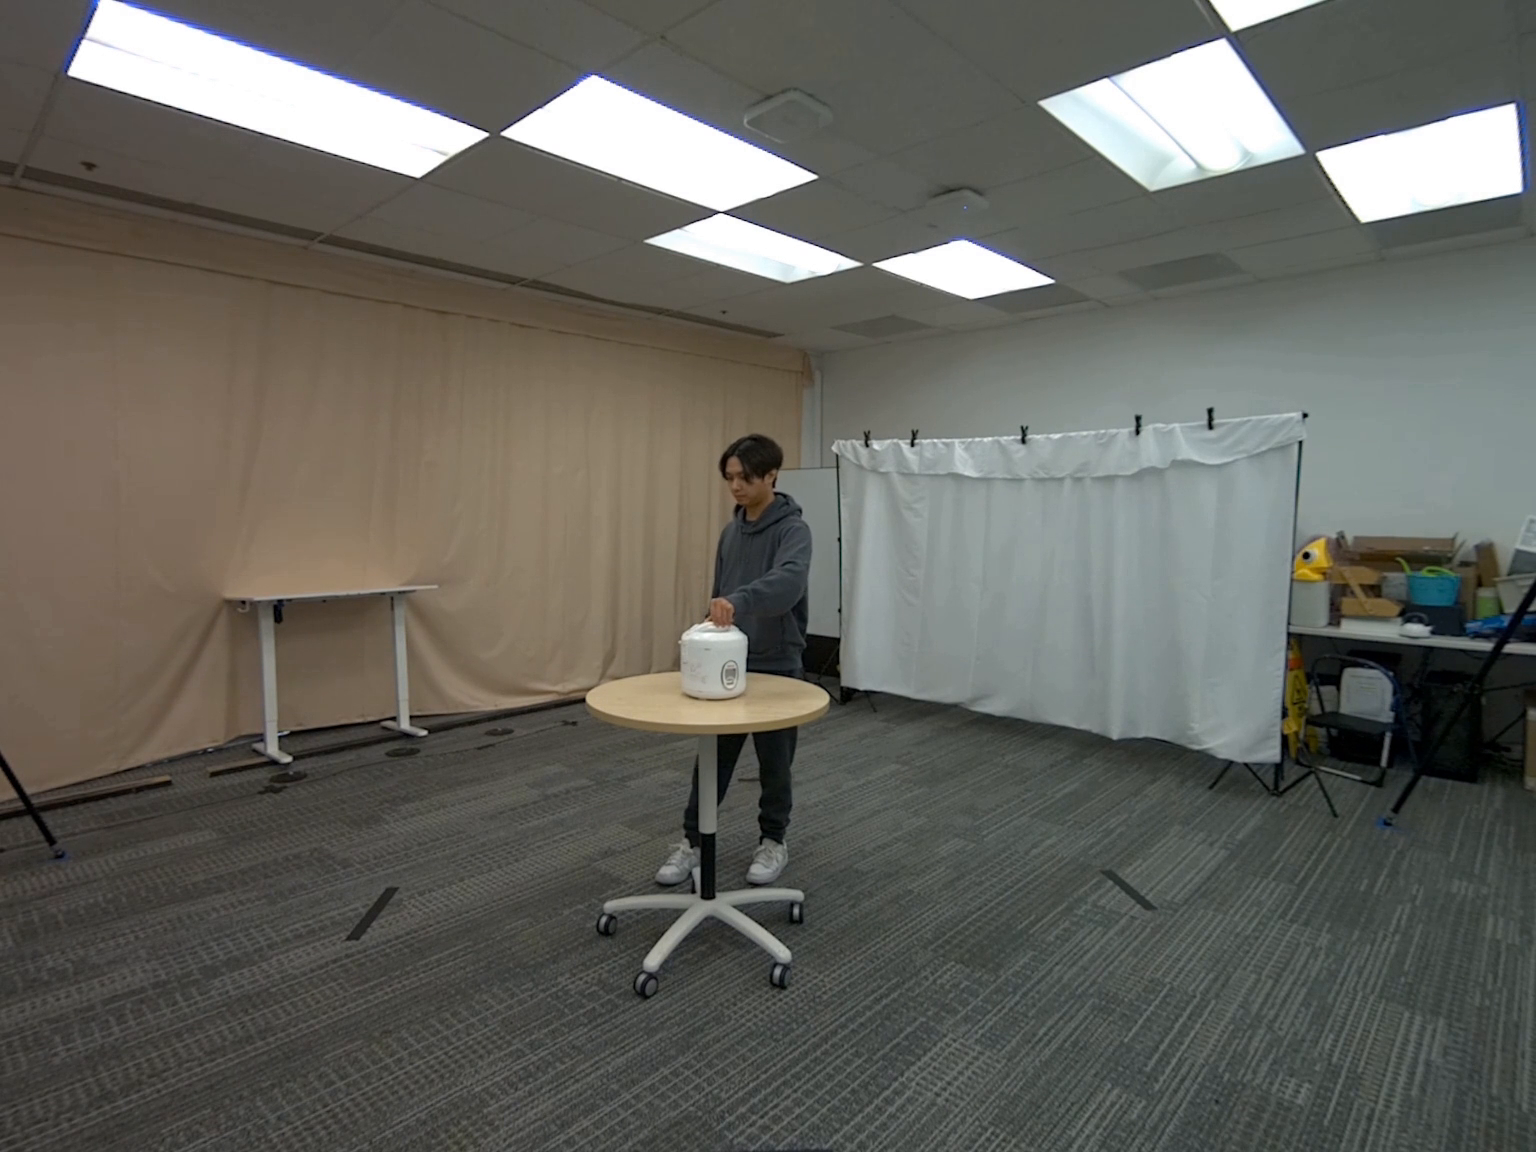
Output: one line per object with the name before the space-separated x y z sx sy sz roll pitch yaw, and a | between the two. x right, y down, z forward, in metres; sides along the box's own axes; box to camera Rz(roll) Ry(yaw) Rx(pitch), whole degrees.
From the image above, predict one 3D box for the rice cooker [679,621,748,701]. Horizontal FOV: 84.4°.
rice cooker | -0.171 0.257 2.660 0.215 0.232 0.223 -3 3 -30
